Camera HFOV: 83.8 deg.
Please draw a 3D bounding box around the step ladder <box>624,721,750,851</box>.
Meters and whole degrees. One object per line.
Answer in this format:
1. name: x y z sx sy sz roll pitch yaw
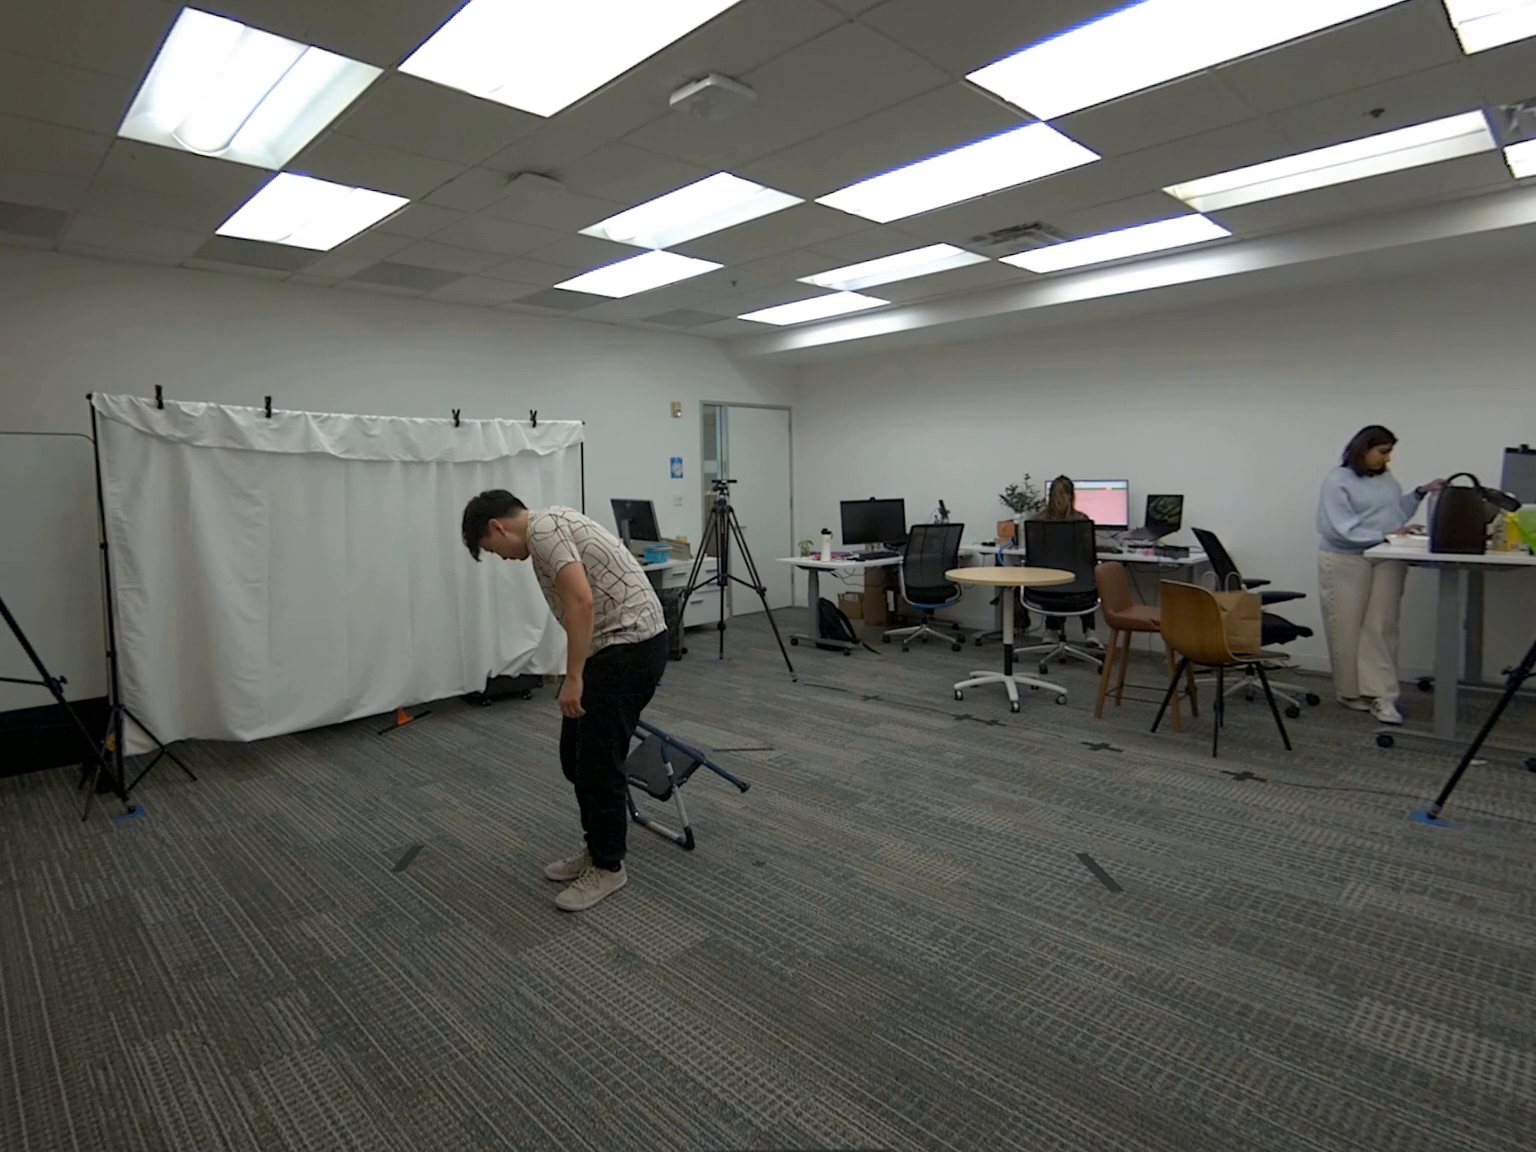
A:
1. step ladder: -0.435 0.687 3.364 0.443 0.590 0.348 3 38 49
